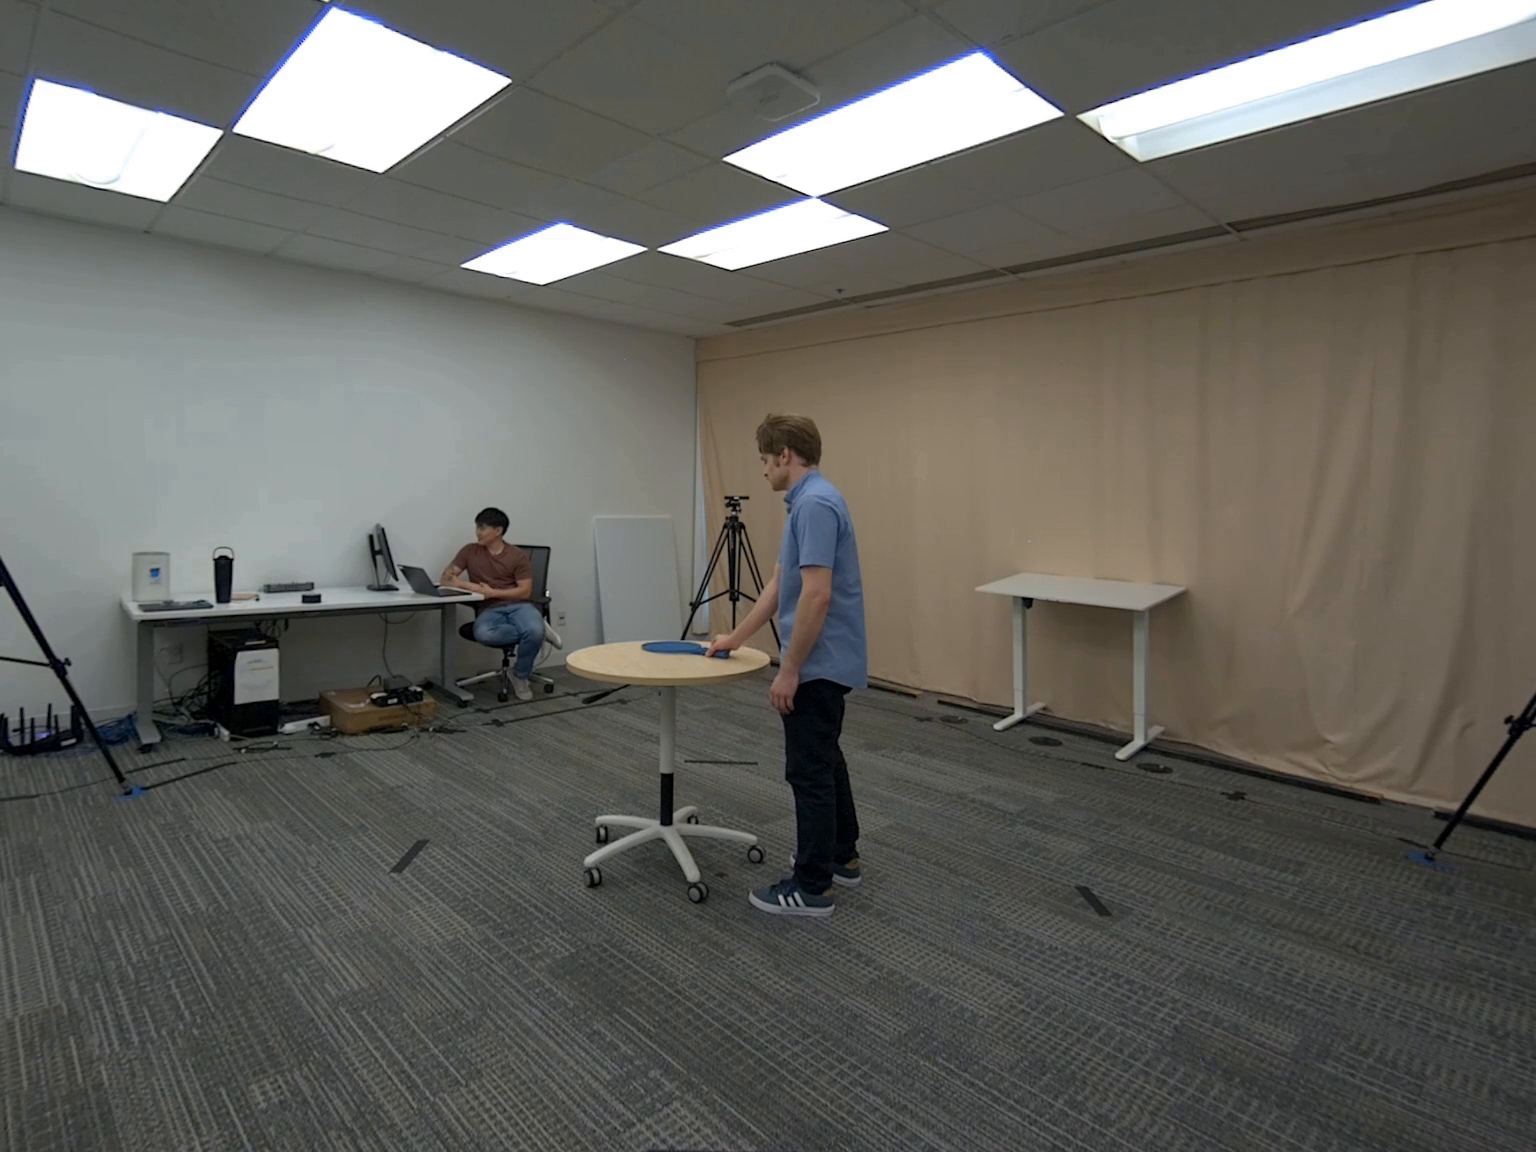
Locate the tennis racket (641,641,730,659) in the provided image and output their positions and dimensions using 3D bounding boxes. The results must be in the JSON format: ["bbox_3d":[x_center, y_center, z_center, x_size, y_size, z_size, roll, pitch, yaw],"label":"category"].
[{"bbox_3d":[-0.327,0.287,3.306,0.444,0.031,0.209,4,8,41],"label":"tennis racket"}]
